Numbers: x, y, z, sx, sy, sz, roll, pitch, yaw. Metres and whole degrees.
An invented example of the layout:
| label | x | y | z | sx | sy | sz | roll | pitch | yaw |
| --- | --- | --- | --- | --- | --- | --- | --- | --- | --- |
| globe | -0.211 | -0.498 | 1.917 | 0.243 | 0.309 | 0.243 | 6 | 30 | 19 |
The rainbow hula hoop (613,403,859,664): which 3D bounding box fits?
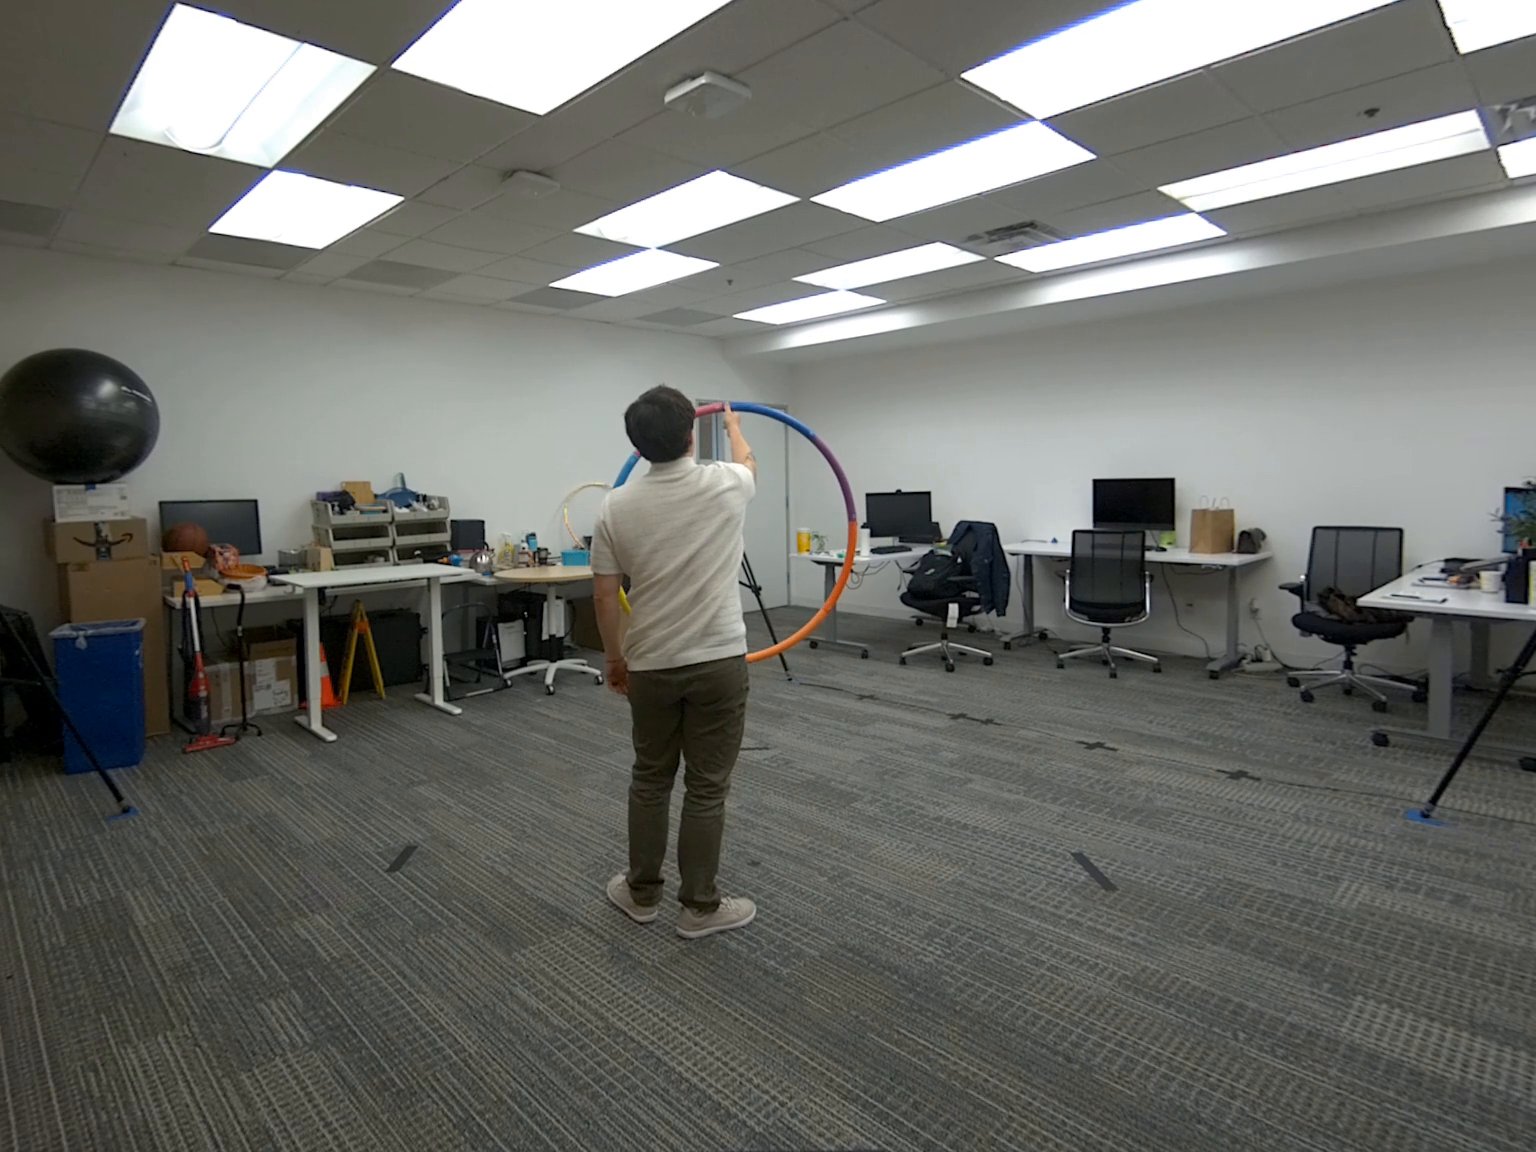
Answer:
| label | x | y | z | sx | sy | sz | roll | pitch | yaw |
| --- | --- | --- | --- | --- | --- | --- | --- | --- | --- |
| rainbow hula hoop | -0.122 | -0.151 | 3.199 | 0.967 | 0.973 | 0.036 | -2 | 6 | -13 |
